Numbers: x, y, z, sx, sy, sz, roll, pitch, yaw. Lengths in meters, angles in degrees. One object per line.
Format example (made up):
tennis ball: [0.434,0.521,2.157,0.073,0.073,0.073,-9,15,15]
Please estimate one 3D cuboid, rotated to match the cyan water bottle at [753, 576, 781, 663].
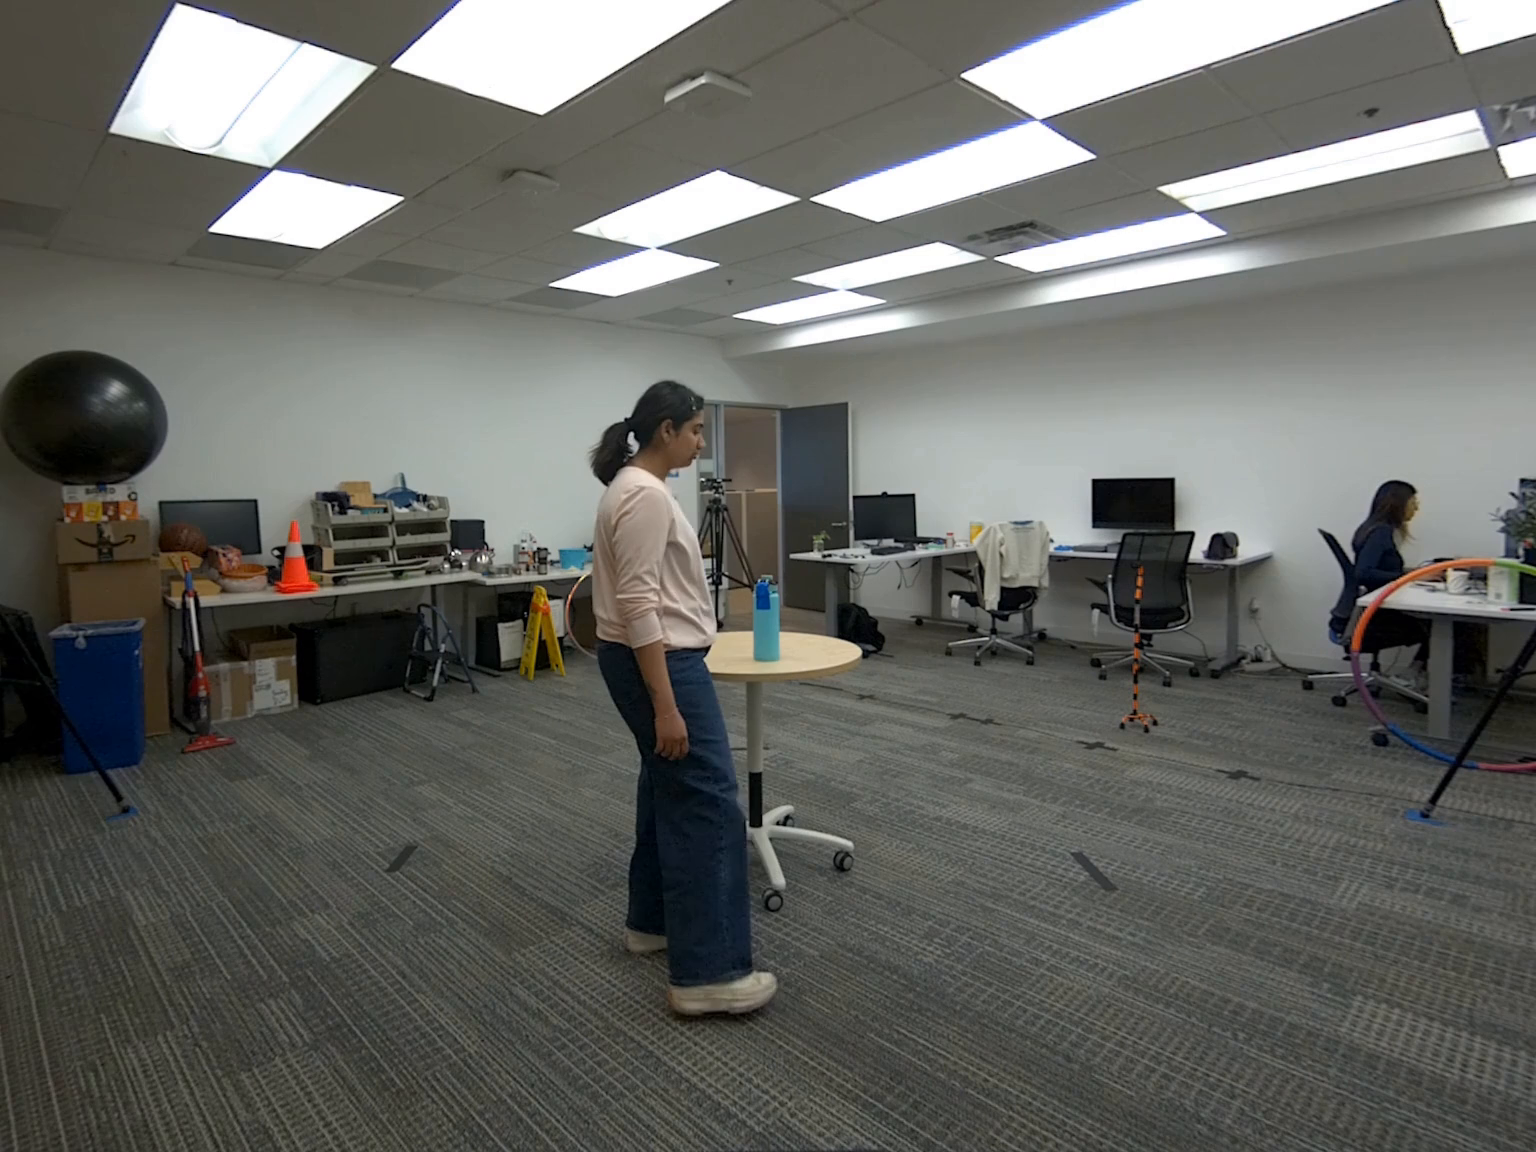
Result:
cyan water bottle: [0.002,0.144,2.881,0.092,0.282,0.093,0,7,-2]
